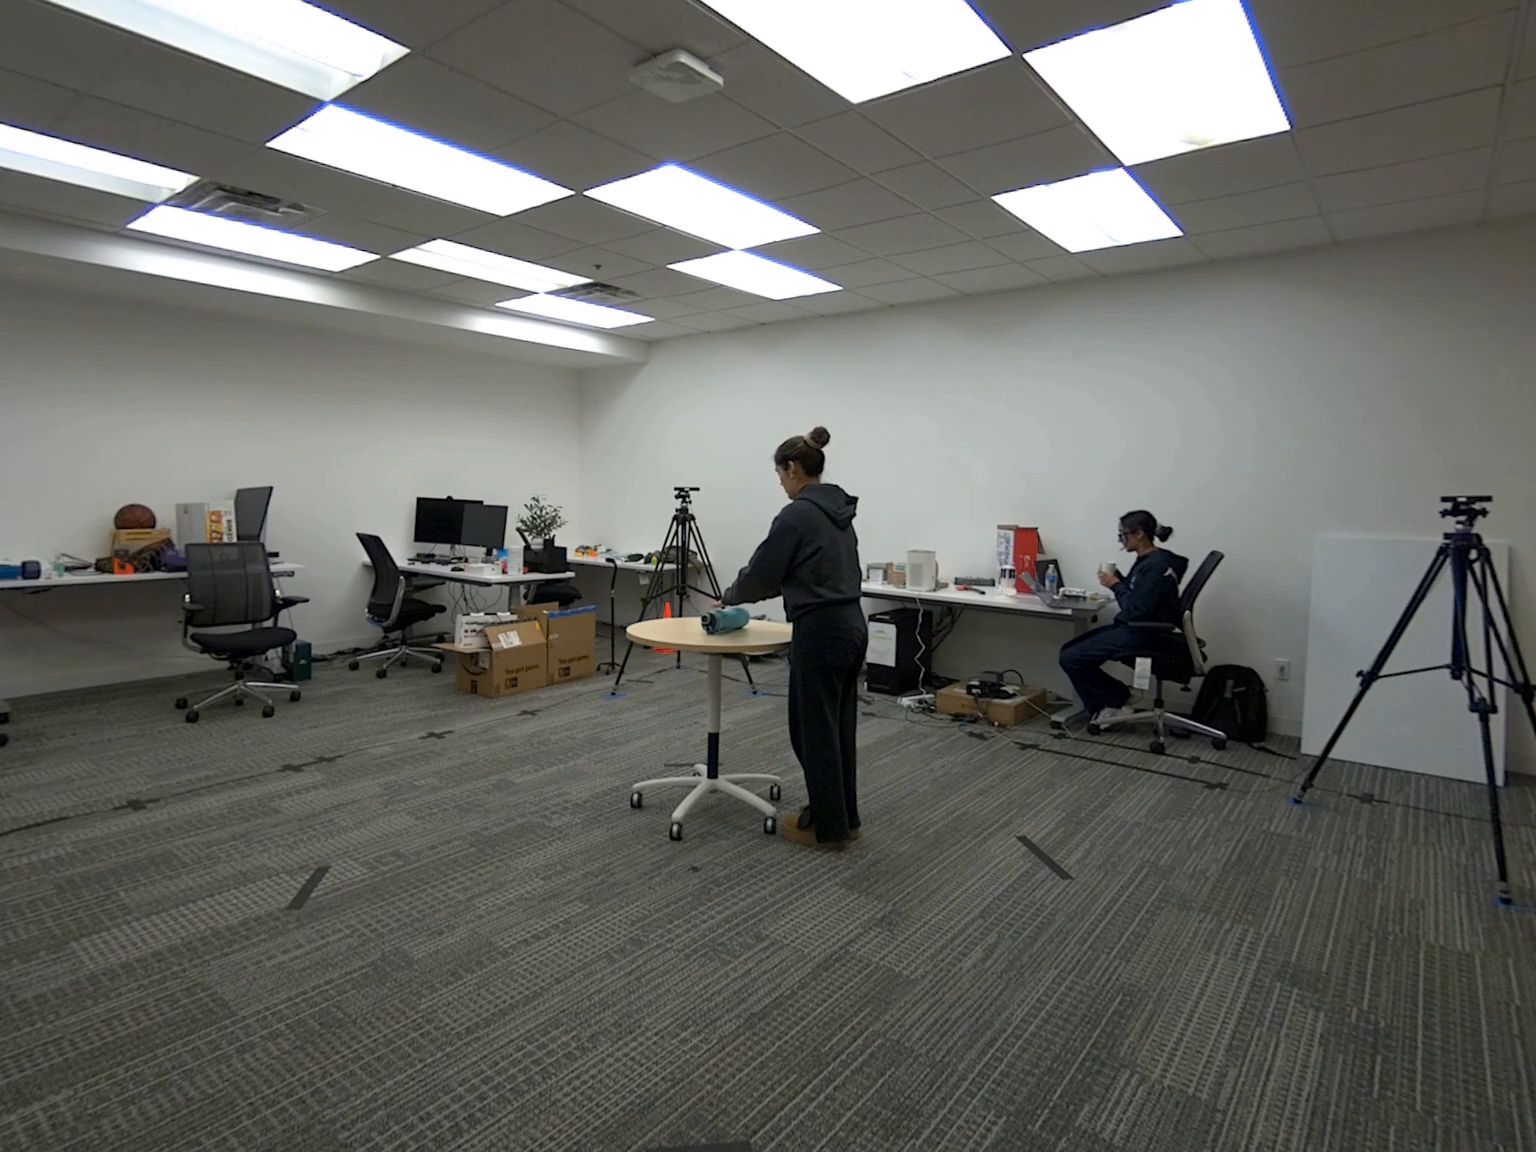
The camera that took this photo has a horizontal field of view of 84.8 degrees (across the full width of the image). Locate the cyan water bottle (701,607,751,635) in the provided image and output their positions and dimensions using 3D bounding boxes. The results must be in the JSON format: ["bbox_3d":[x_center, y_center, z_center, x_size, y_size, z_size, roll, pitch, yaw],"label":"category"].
[{"bbox_3d":[-0.194,0.182,3.641,0.095,0.092,0.275,3,3,32],"label":"cyan water bottle"}]
